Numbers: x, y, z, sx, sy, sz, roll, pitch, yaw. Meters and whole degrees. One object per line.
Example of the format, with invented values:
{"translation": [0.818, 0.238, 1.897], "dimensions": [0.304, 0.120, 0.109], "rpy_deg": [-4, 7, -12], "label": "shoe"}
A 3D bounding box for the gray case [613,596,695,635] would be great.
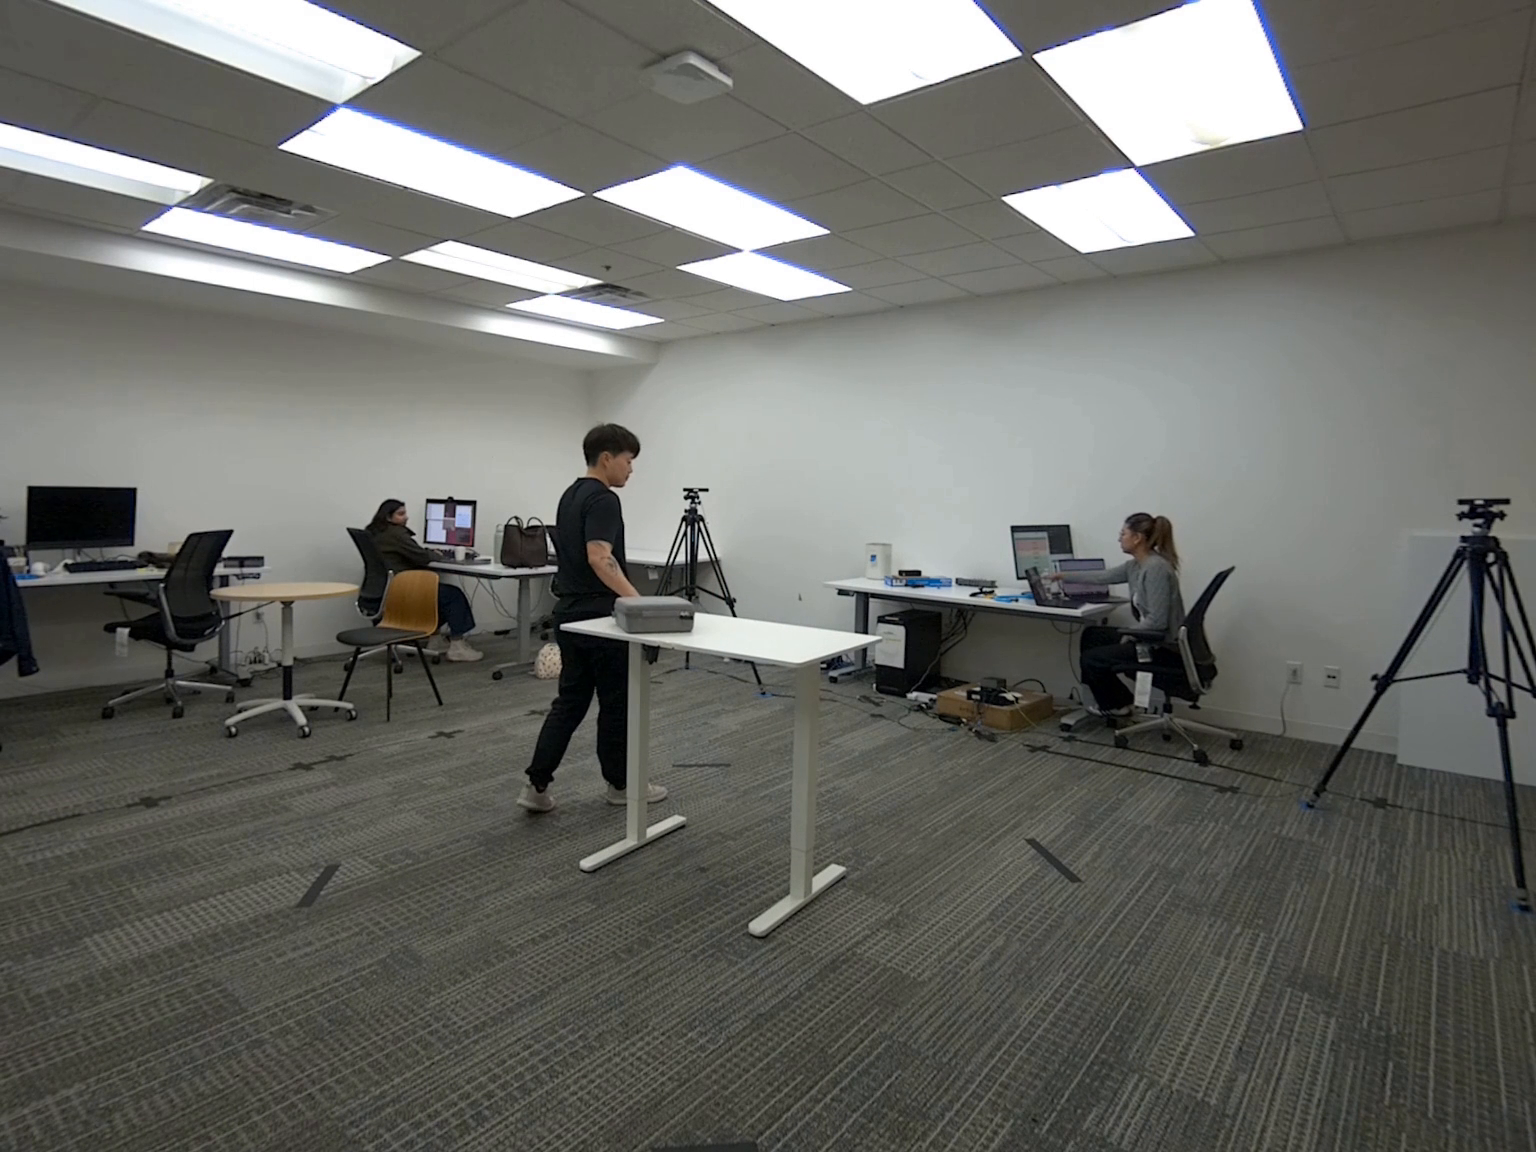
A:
{"translation": [-0.424, 0.132, 3.077], "dimensions": [0.252, 0.104, 0.266], "rpy_deg": [-1, 5, -18], "label": "gray case"}
